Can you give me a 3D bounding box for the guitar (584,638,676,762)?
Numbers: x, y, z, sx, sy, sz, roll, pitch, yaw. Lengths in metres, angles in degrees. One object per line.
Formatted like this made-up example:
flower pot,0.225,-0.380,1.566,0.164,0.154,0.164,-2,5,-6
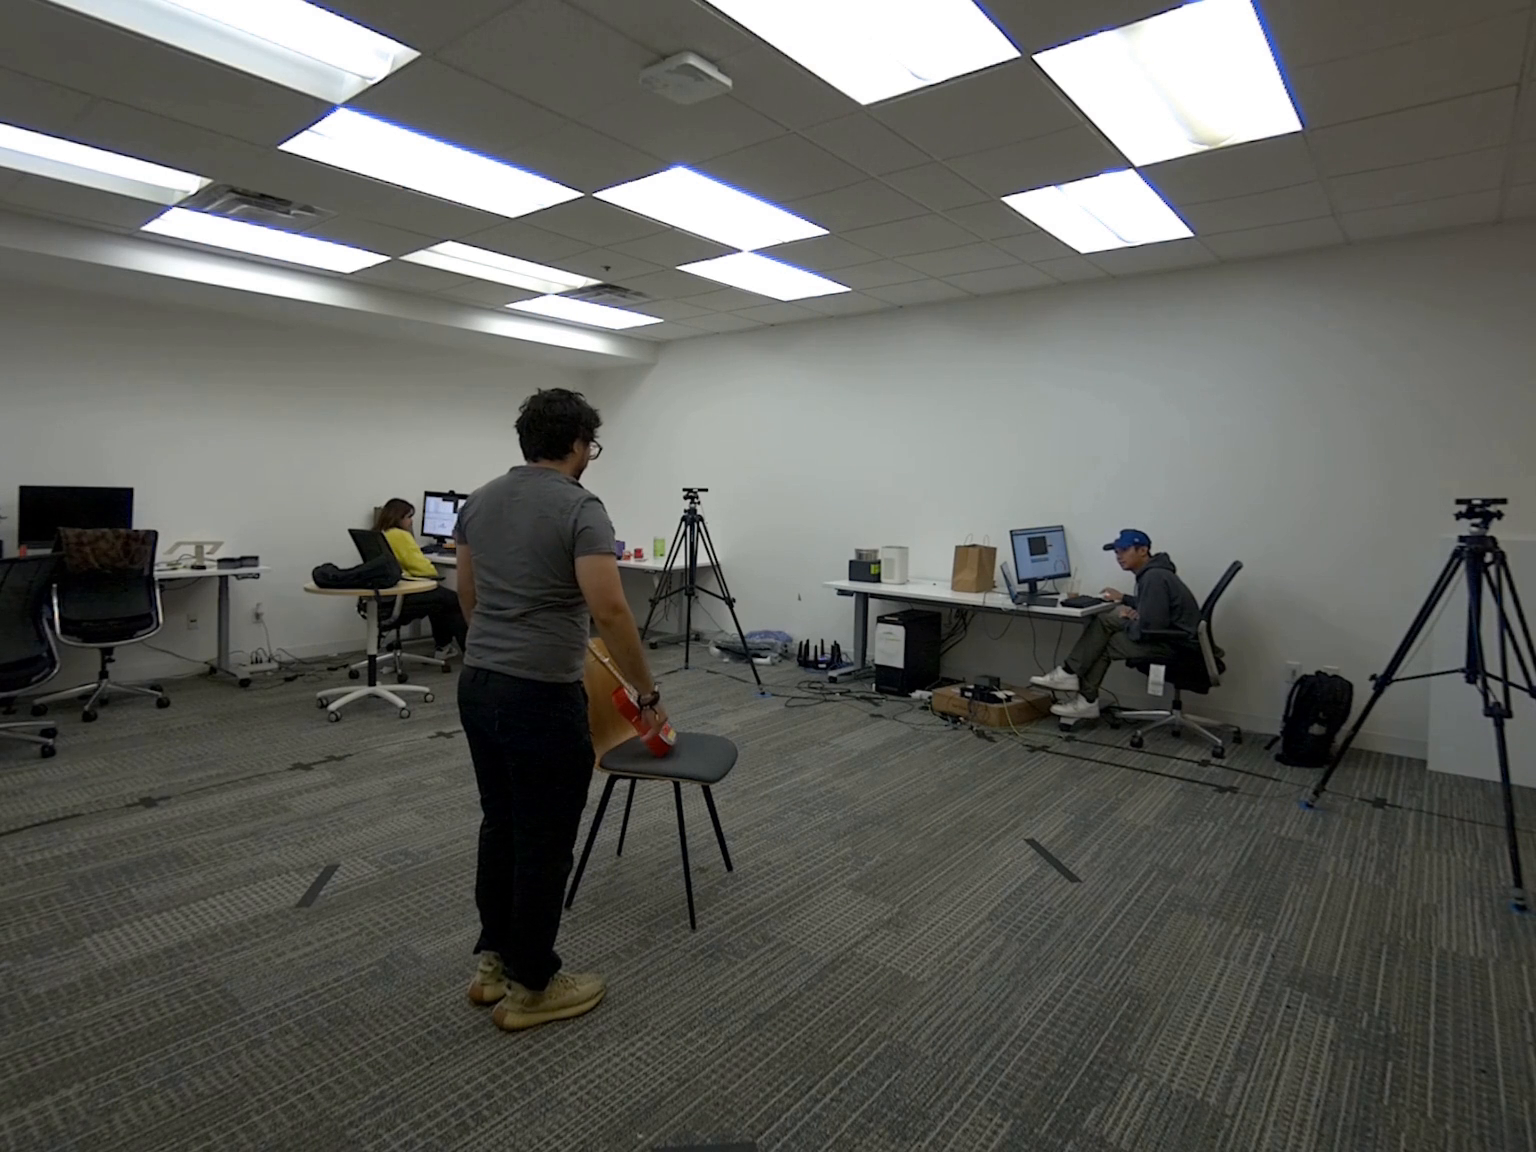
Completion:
guitar,-0.505,0.404,2.974,0.071,0.503,0.191,-41,-6,6
